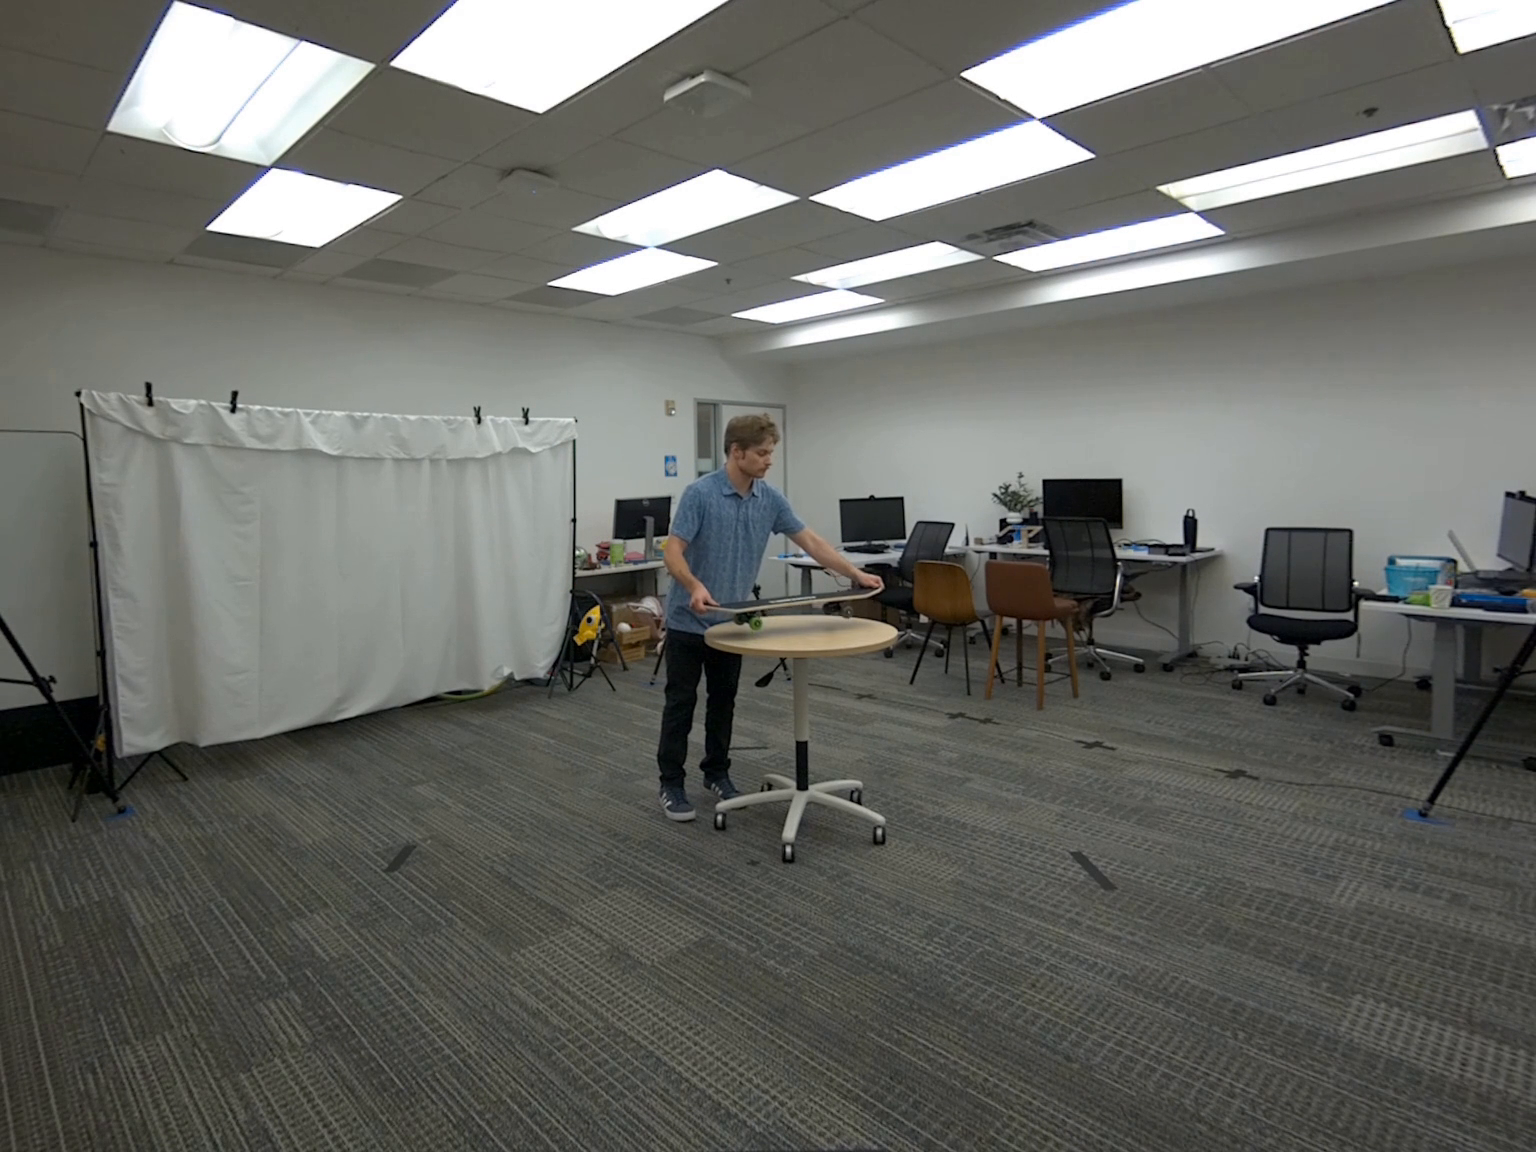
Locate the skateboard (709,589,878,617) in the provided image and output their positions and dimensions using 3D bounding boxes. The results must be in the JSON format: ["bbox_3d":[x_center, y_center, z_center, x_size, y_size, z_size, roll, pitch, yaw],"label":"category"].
[{"bbox_3d":[0.102,0.127,3.394,0.770,0.110,0.198,-6,5,-23],"label":"skateboard"}]
